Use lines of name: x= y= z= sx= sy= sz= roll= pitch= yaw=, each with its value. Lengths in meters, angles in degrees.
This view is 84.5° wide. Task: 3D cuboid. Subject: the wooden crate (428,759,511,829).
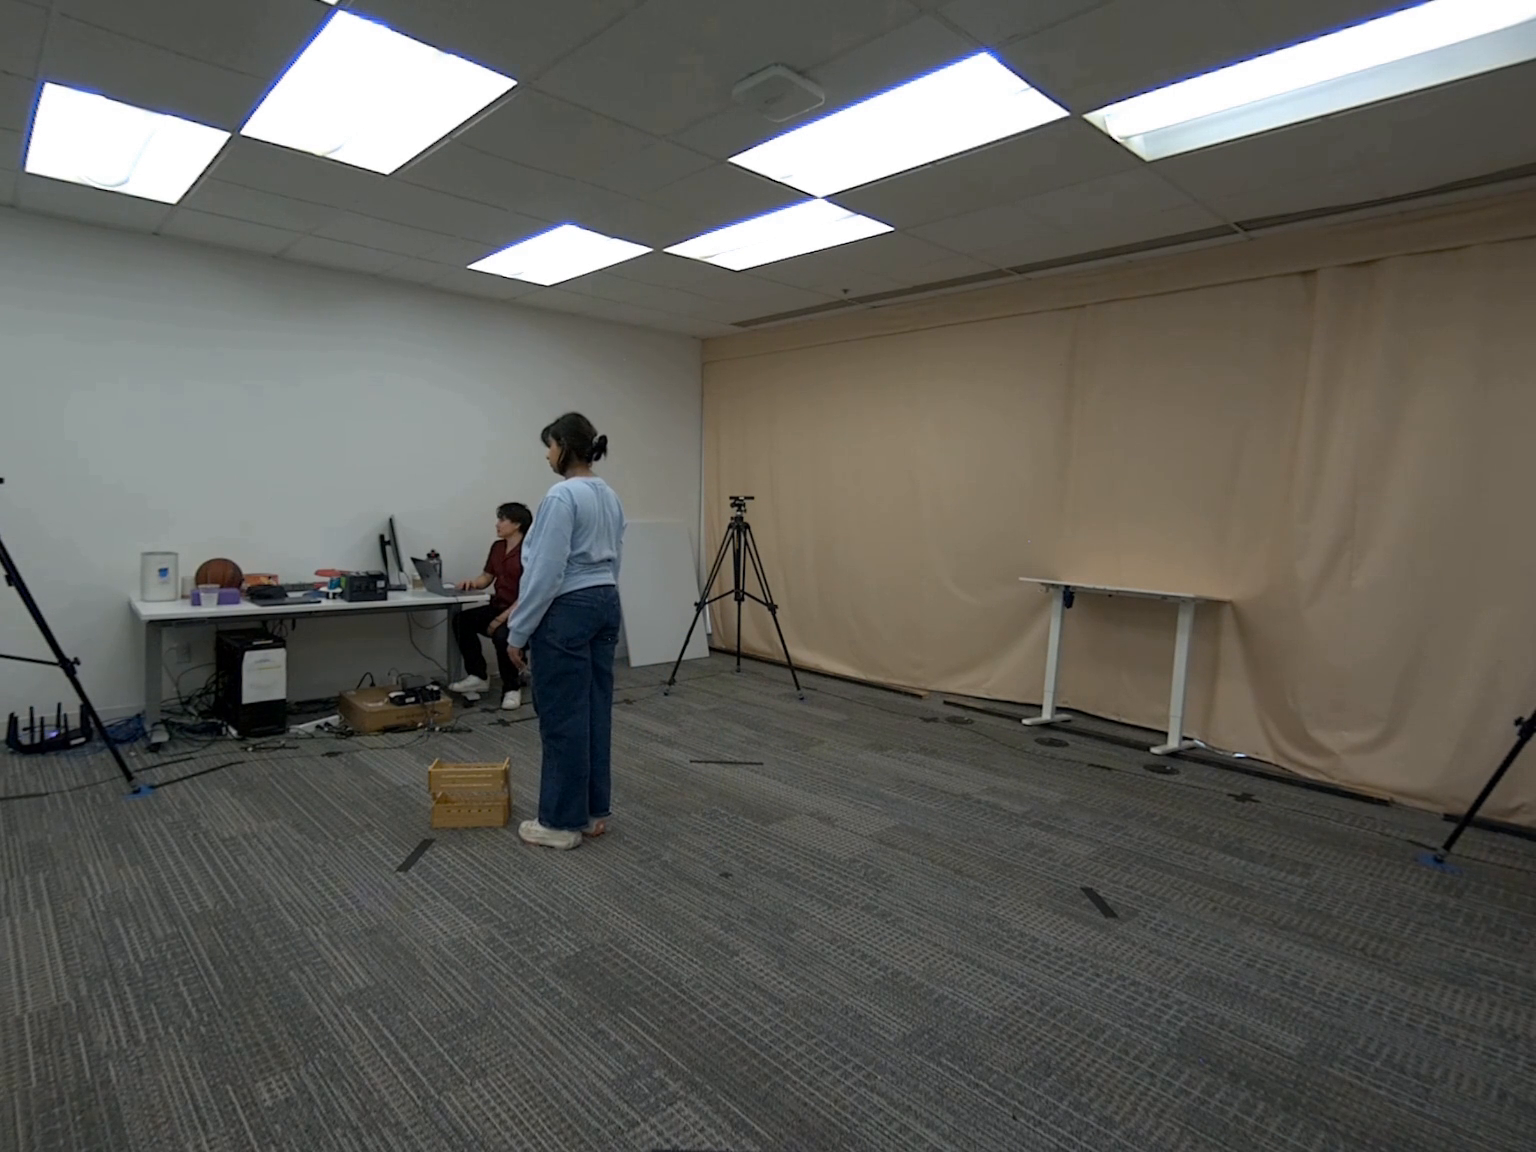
wooden crate: x=-1.269 y=0.897 z=3.602 sx=0.323 sy=0.272 sz=0.305 roll=1 pitch=5 yaw=-7
